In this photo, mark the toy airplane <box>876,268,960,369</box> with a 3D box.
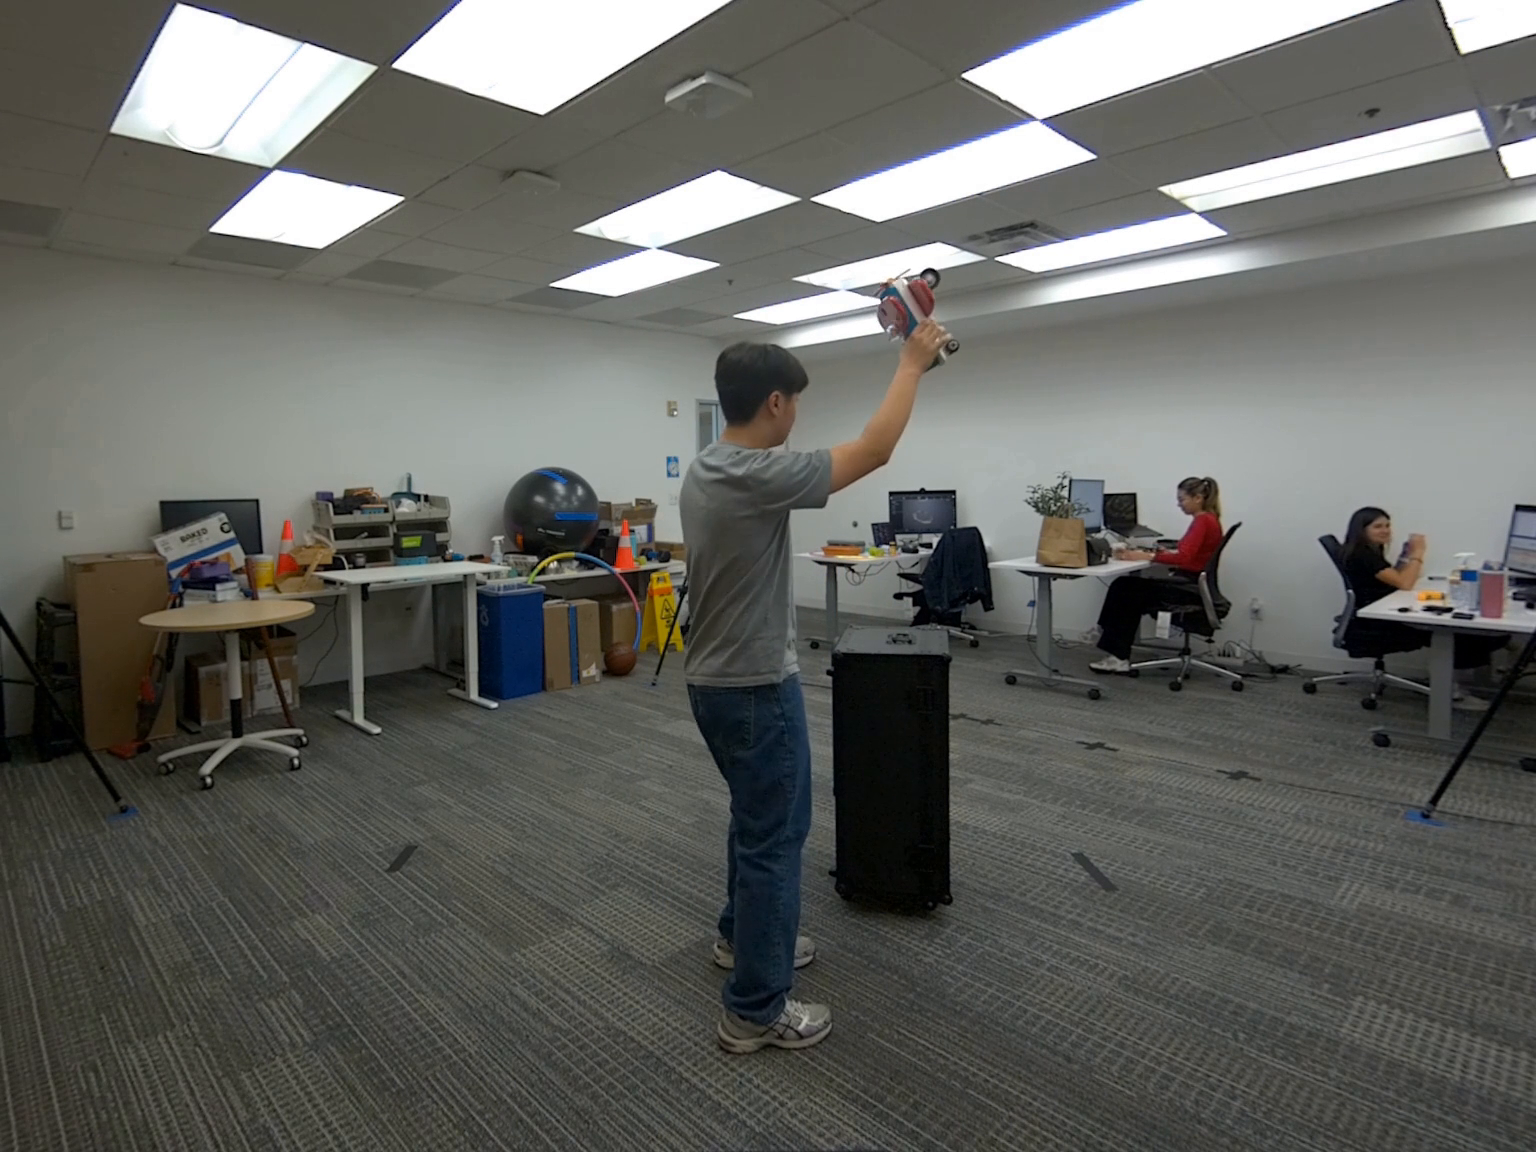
[{"bbox_3d":[0.380,-0.657,2.183,0.157,0.266,0.244,-18,-24,2],"label":"toy airplane"}]
